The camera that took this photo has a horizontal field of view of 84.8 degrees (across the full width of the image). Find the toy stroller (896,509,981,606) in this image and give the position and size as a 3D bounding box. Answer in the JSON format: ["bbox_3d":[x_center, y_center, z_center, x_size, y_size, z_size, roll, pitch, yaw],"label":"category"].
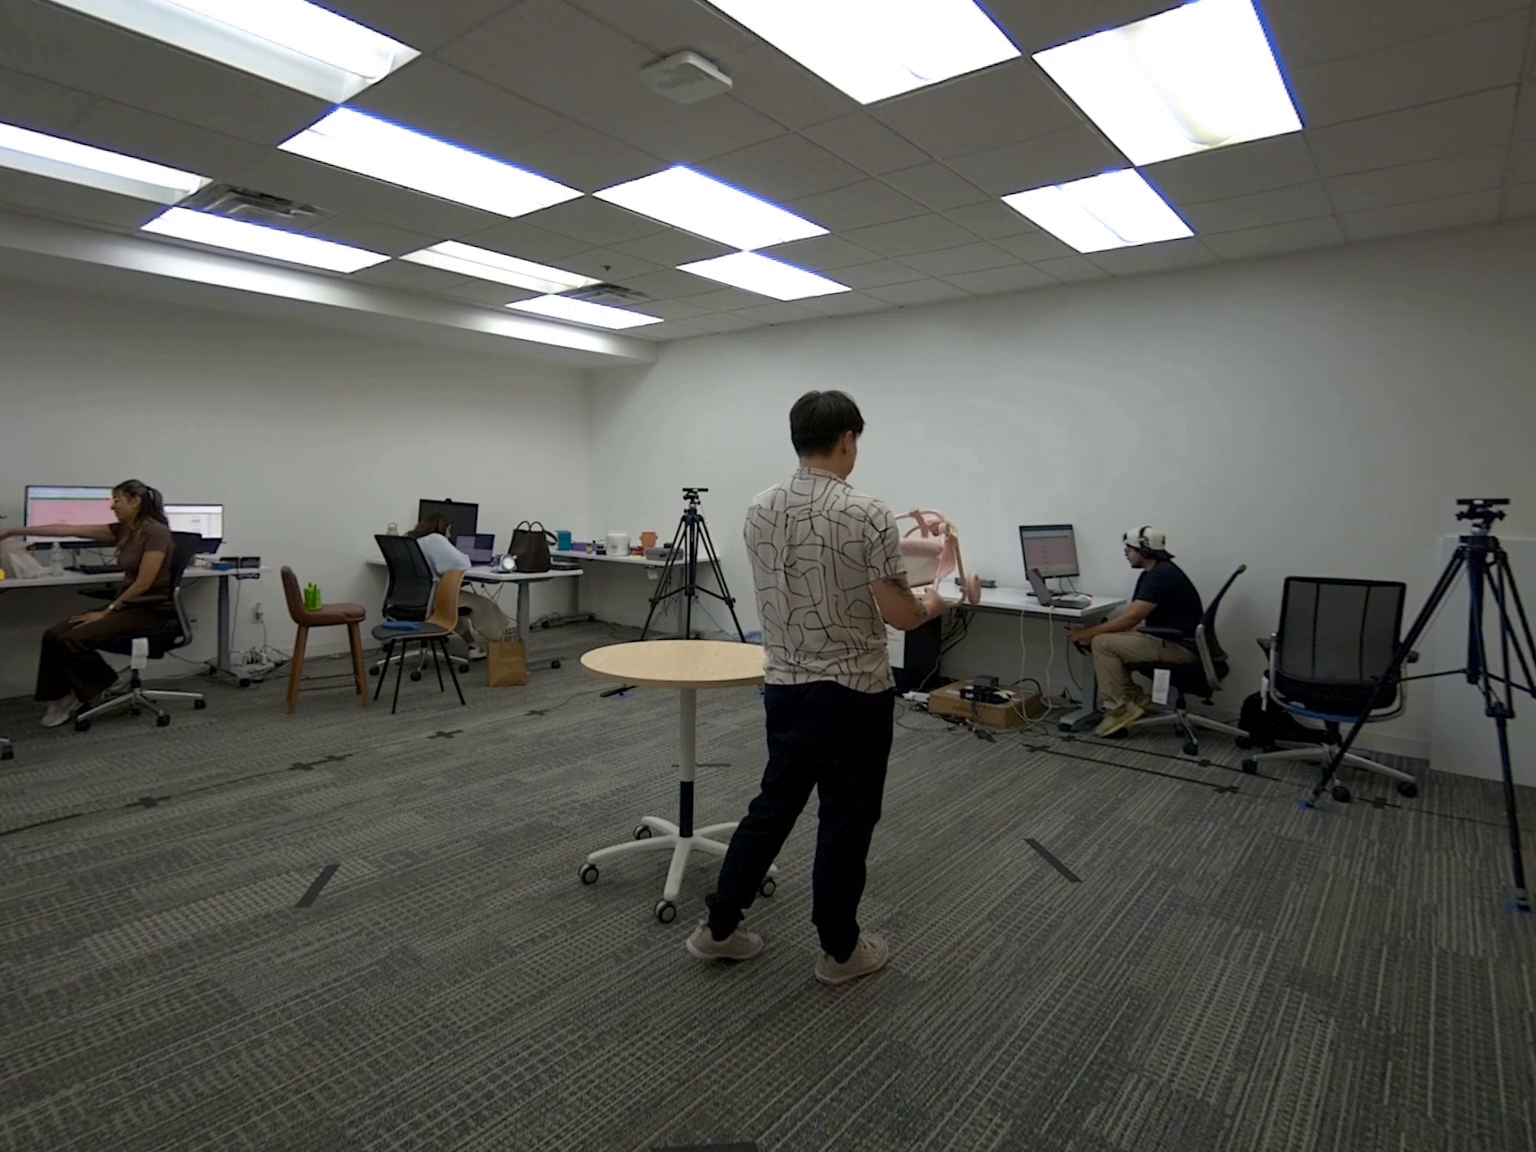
[{"bbox_3d":[0.480,-0.052,2.745,0.288,0.343,0.519,-5,-4,29],"label":"toy stroller"}]
